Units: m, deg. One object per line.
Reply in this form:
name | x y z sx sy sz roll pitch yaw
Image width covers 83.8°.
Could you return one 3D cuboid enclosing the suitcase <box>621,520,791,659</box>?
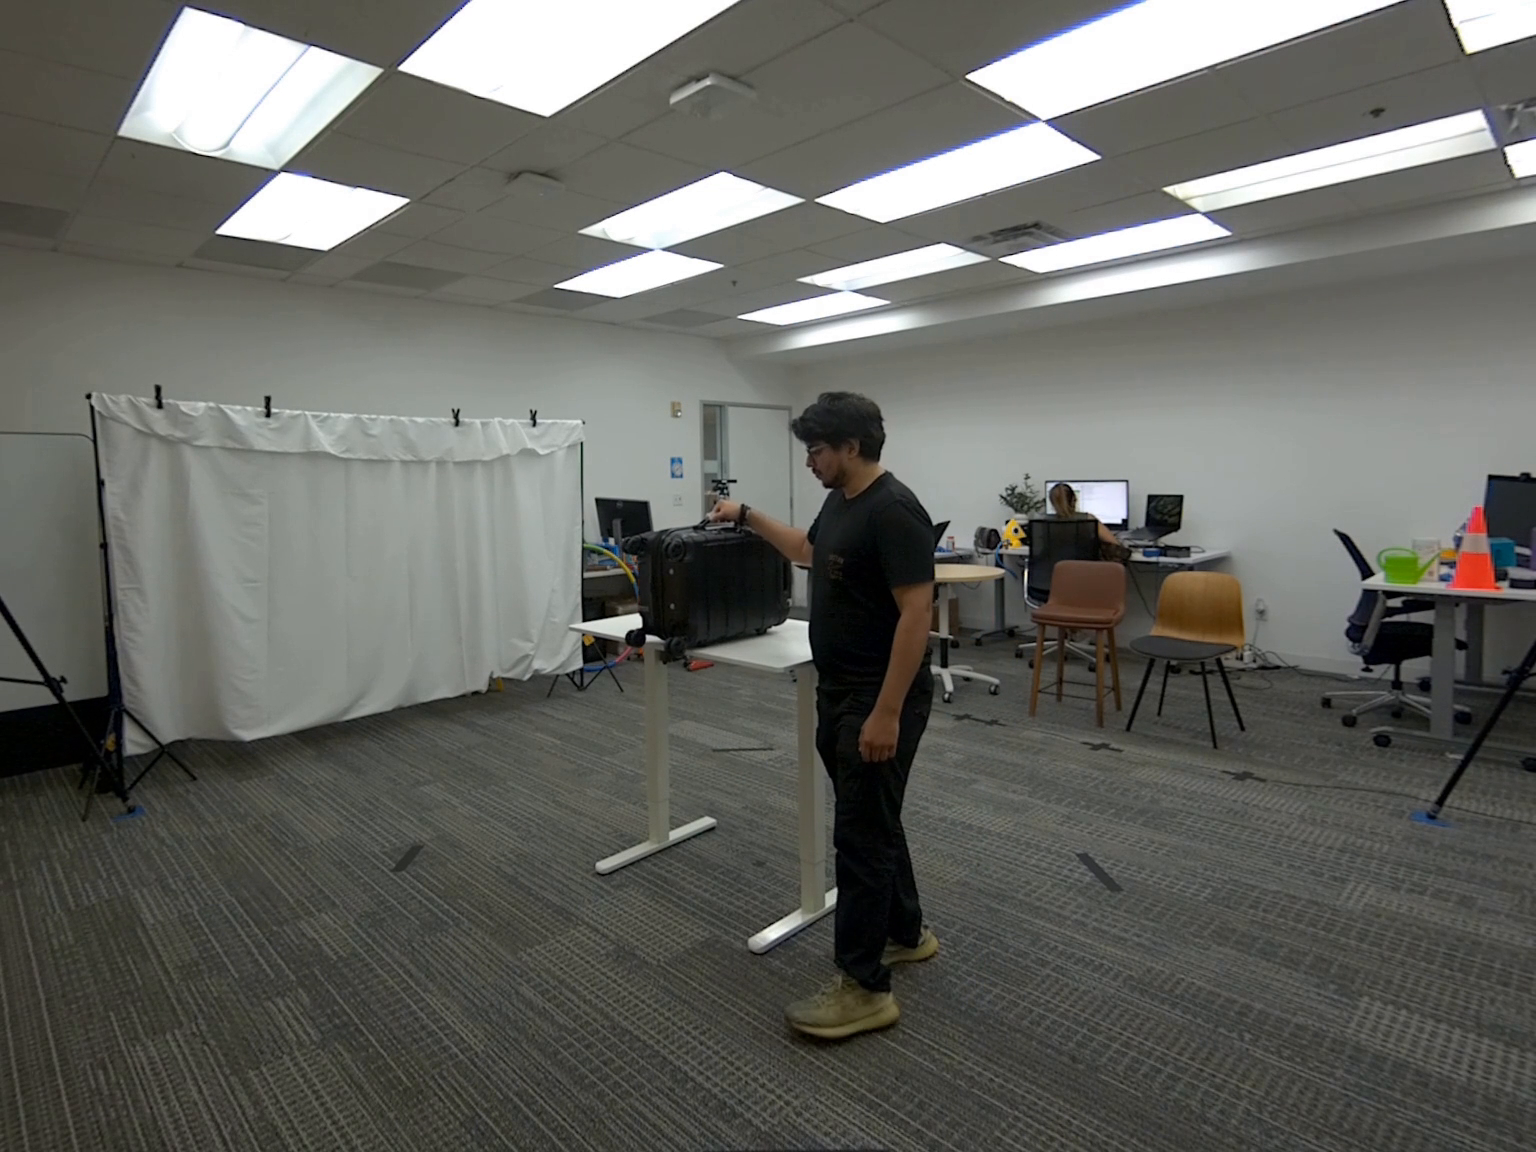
suitcase | -0.174 0.015 2.781 0.536 0.373 0.256 -9 8 -43
